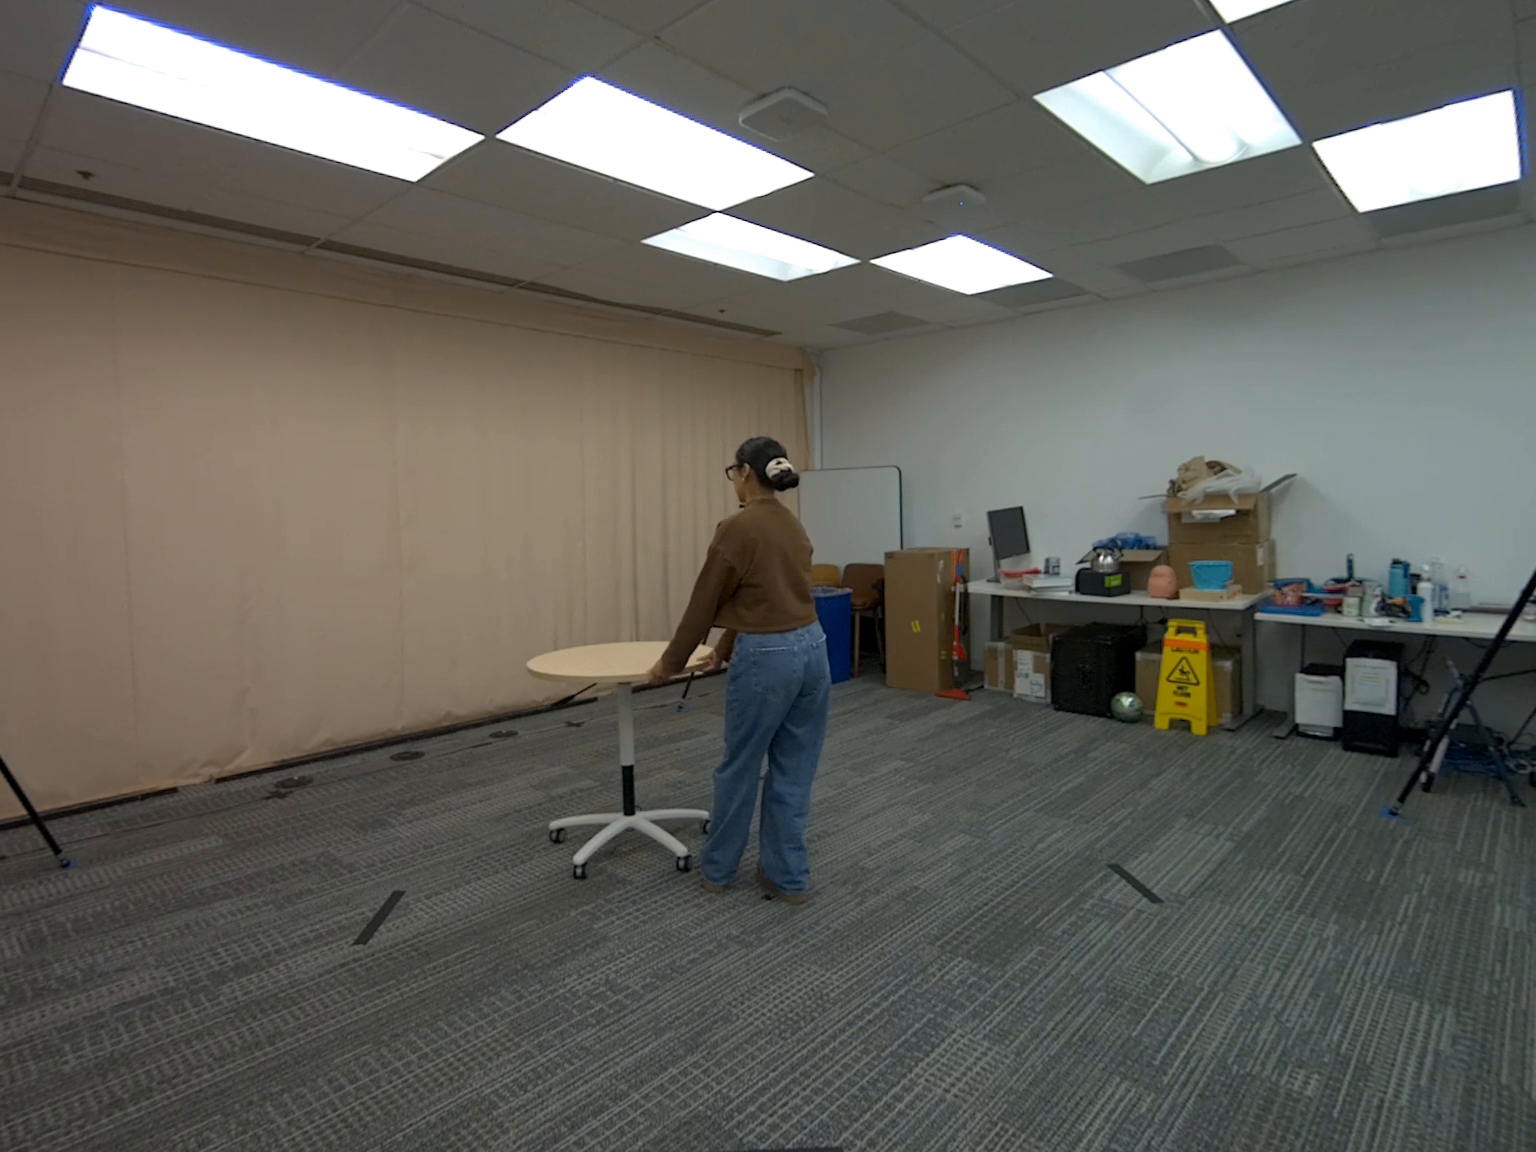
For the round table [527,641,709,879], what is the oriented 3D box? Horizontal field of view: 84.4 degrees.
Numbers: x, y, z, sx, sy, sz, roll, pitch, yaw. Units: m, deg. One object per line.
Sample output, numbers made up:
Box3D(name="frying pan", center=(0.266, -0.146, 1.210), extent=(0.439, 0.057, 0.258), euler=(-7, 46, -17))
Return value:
Box3D(name="round table", center=(-0.547, 0.719, 3.426), extent=(0.784, 0.784, 0.788), euler=(-3, 4, -2))
